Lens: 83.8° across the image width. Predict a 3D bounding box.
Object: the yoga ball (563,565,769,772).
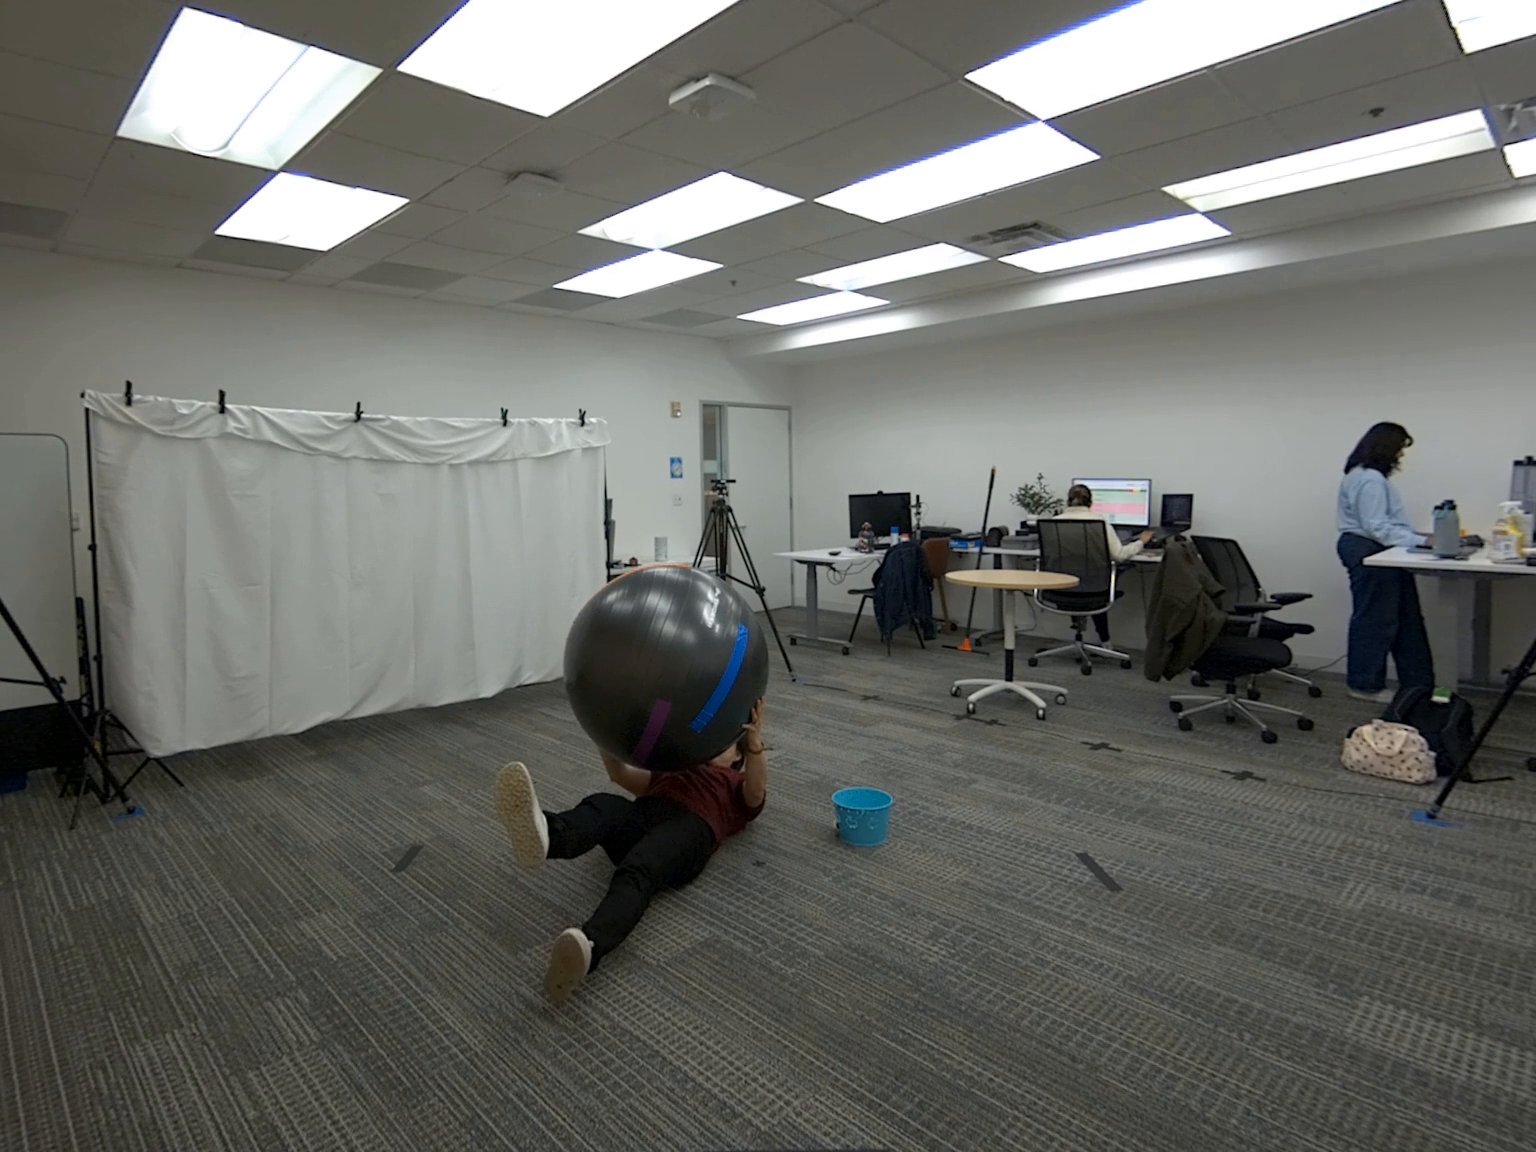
[{"bbox_3d":[-0.379,0.339,3.185,0.757,0.755,0.762,-1,5,-2],"label":"yoga ball"}]
